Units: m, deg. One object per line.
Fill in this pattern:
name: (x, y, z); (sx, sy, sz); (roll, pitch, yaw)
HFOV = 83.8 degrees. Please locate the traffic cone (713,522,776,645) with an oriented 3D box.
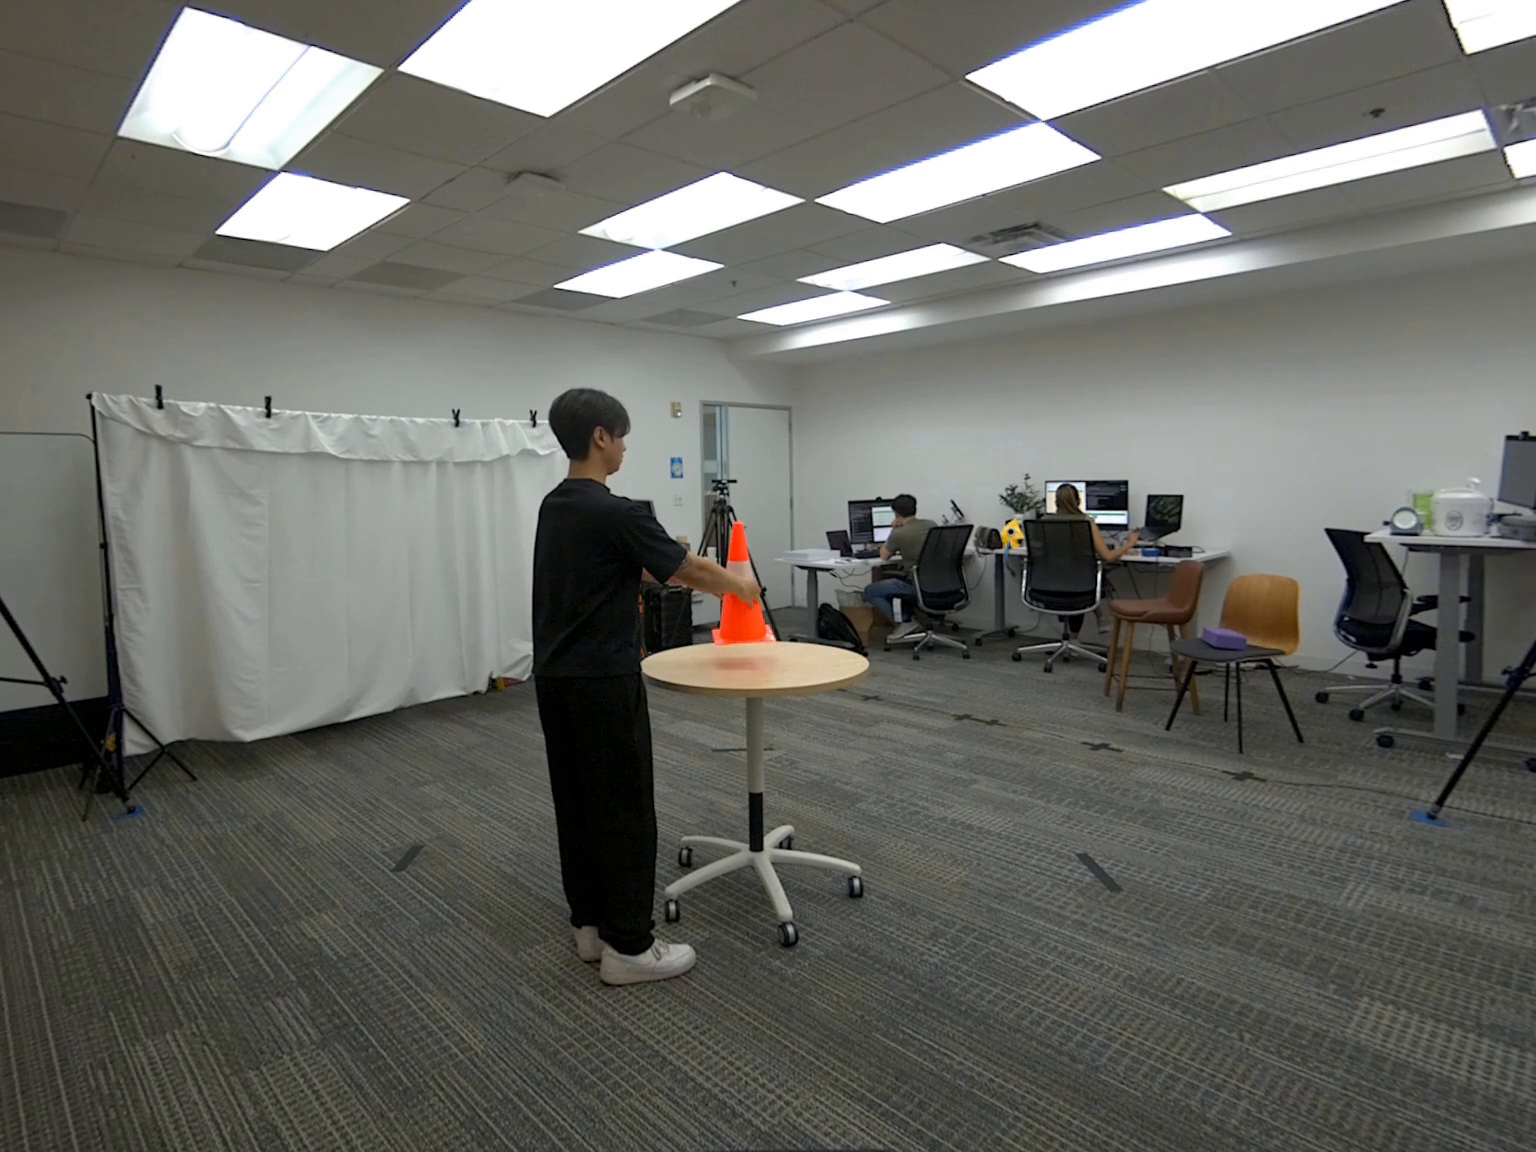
traffic cone: (-0.087, 0.006, 2.820); (0.203, 0.381, 0.206); (-3, 7, -1)
